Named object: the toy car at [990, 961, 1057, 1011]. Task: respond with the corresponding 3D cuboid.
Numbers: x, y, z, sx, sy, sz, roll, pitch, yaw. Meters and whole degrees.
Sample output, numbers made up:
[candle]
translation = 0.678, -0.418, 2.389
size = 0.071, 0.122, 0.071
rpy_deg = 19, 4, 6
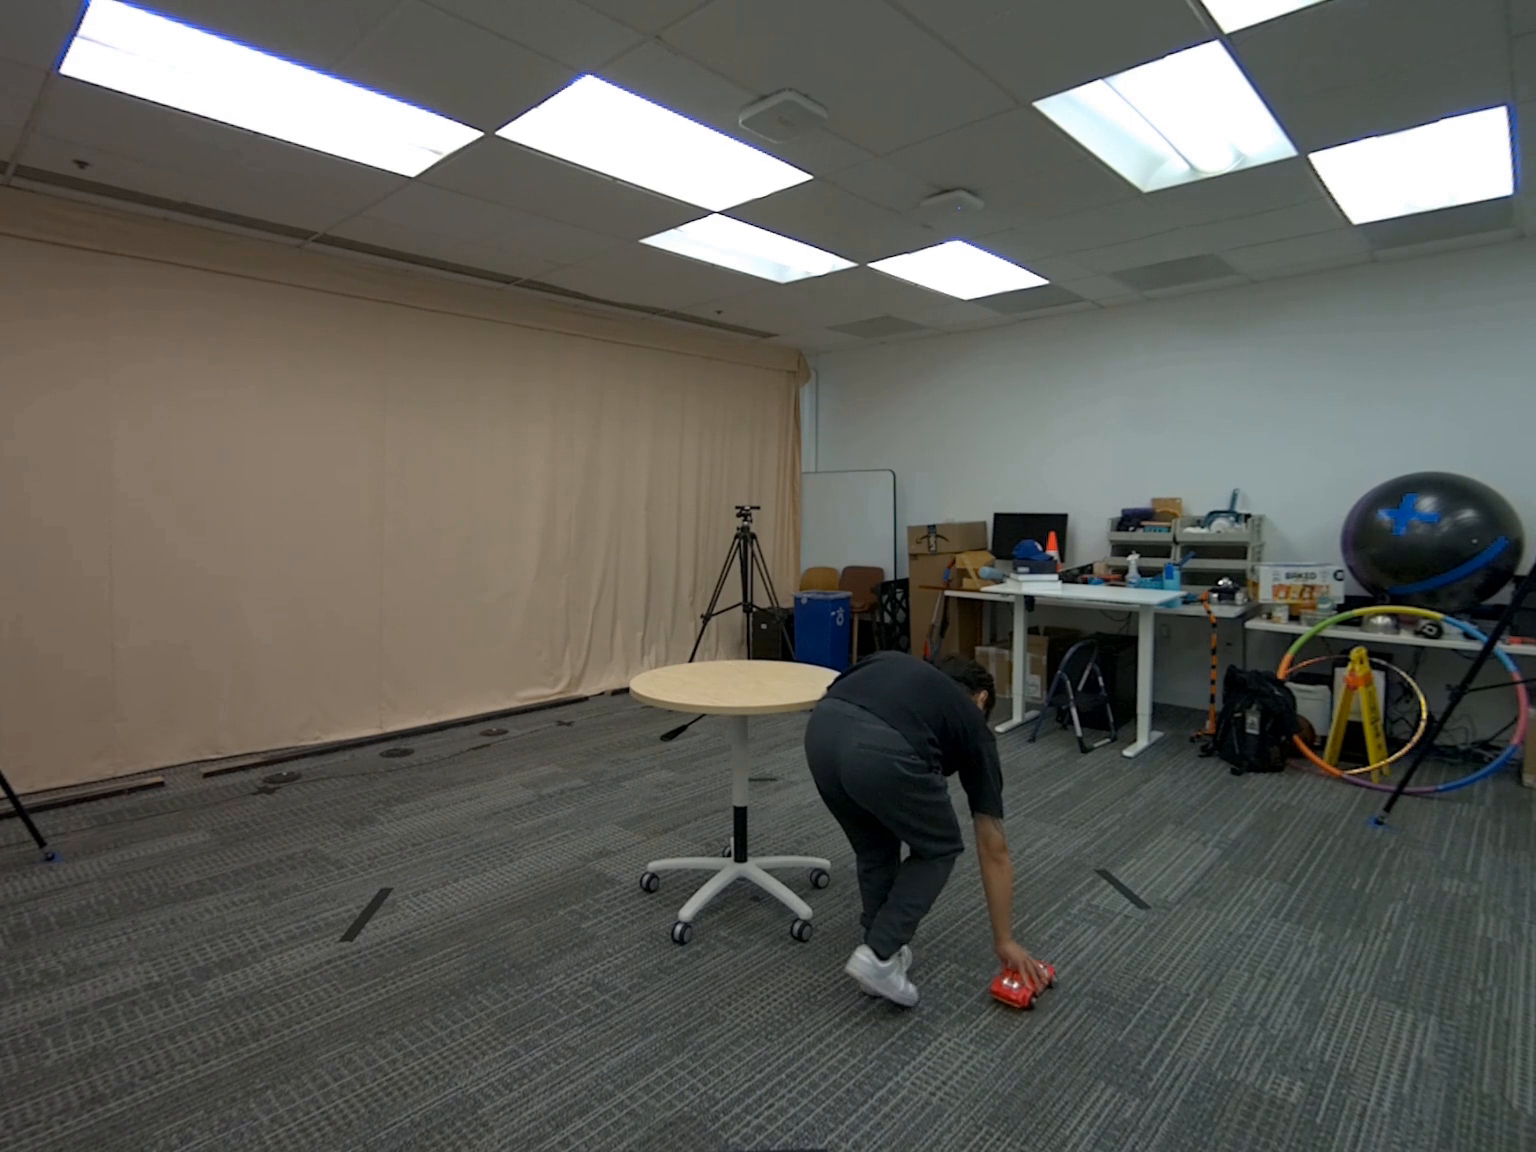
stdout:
[toy car]
translation = 0.739, 1.167, 2.392
size = 0.135, 0.083, 0.246
rpy_deg = 5, -4, 43
